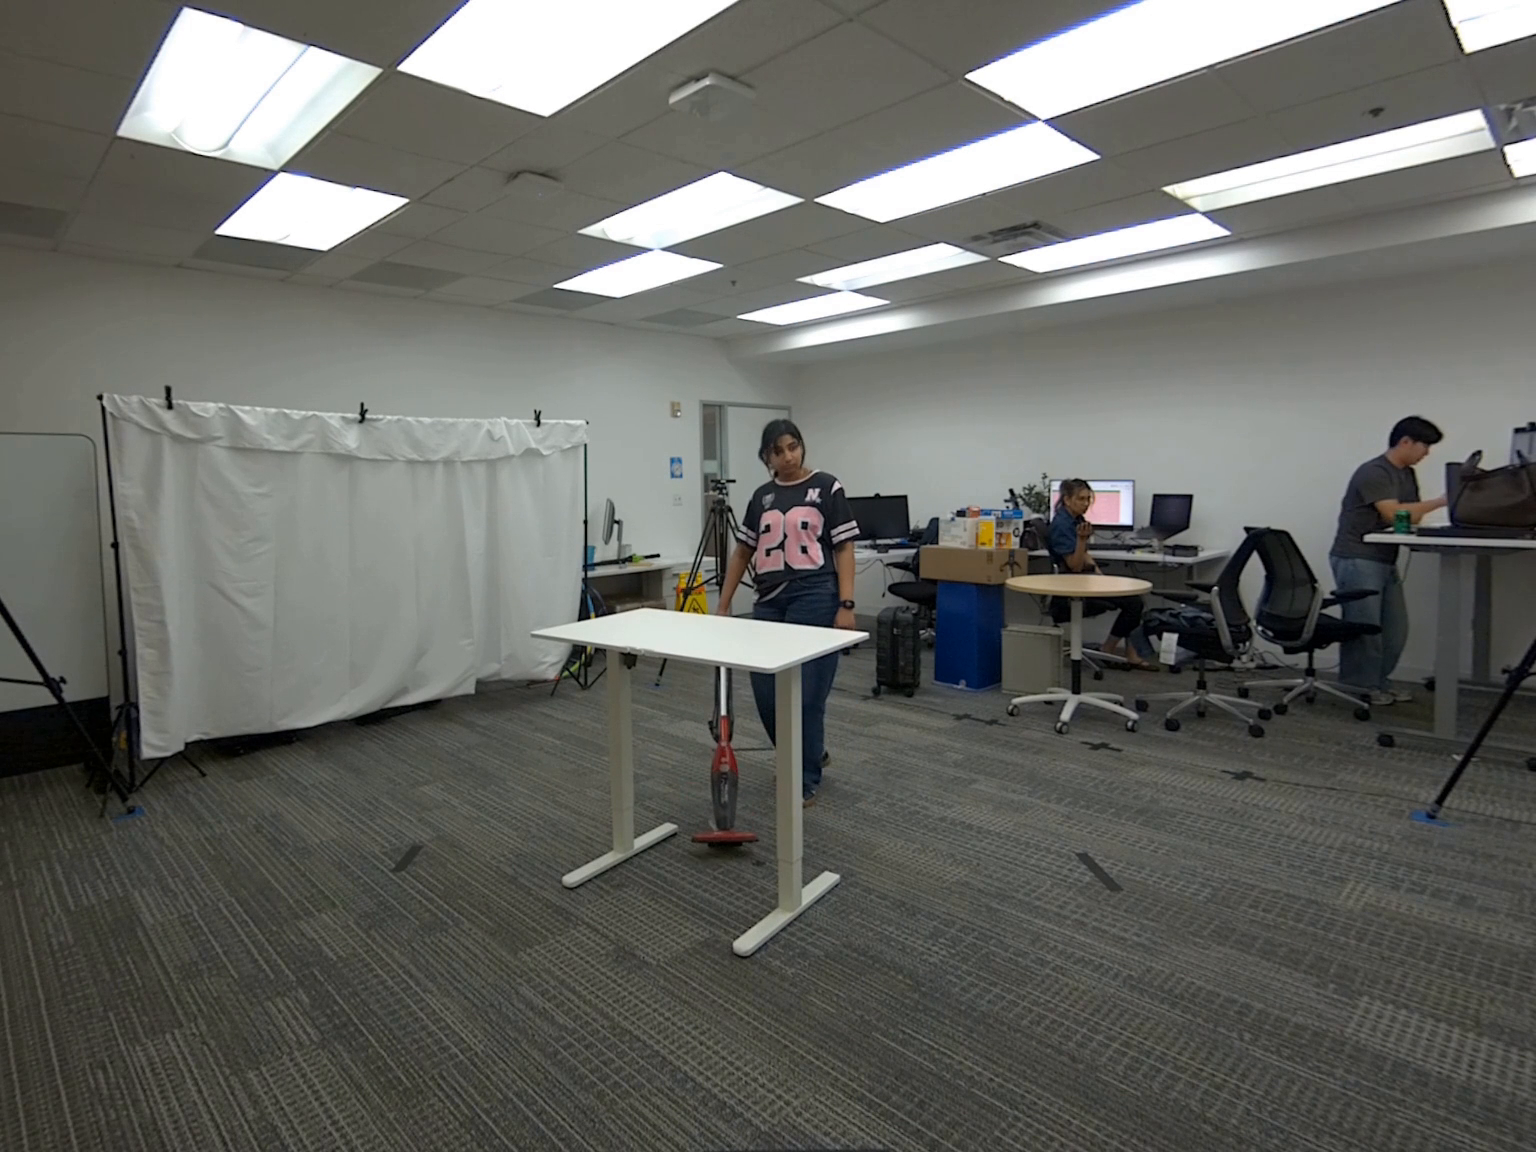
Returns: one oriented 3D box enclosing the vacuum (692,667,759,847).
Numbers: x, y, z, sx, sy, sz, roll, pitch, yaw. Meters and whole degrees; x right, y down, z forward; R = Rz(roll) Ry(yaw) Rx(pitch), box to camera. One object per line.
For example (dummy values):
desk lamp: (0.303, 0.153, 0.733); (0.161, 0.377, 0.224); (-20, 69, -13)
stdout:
vacuum: (-0.181, 0.611, 3.581); (0.253, 1.079, 0.140); (-3, -42, 0)
